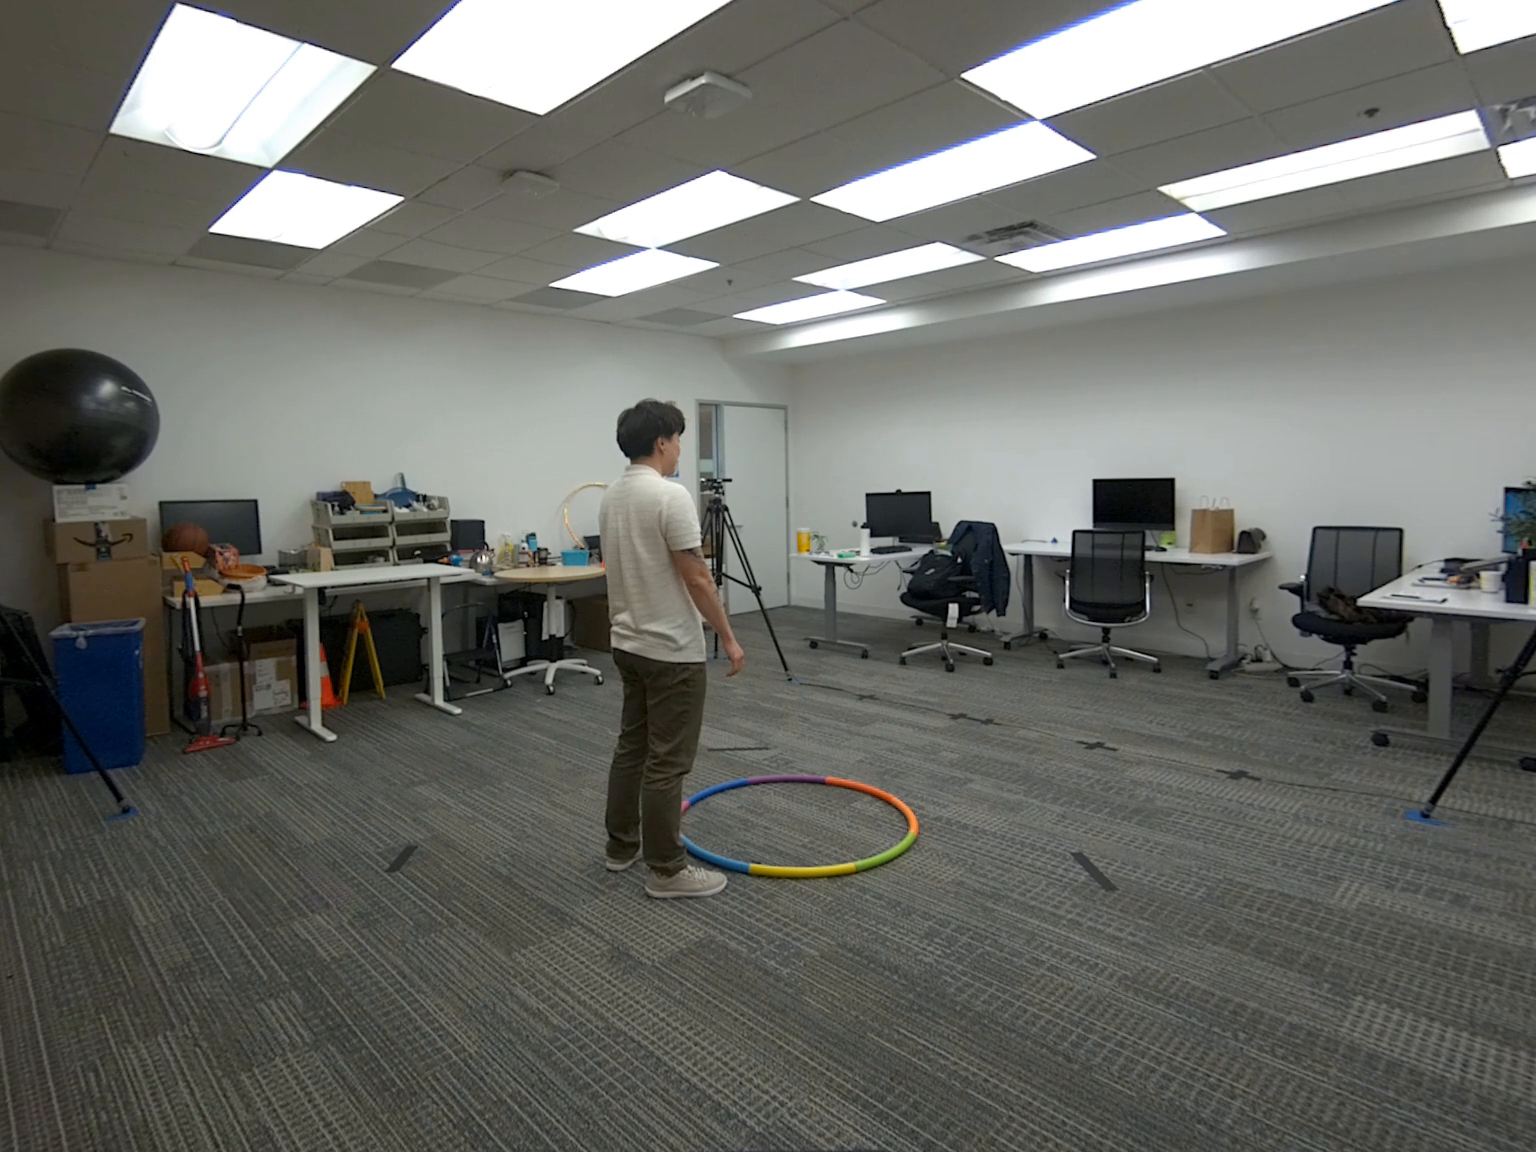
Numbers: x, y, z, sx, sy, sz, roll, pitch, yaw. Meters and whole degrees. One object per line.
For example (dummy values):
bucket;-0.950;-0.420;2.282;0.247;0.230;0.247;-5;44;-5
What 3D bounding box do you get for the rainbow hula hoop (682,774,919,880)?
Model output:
rainbow hula hoop;0.100;0.972;3.456;0.978;0.035;0.984;-1;6;-2
